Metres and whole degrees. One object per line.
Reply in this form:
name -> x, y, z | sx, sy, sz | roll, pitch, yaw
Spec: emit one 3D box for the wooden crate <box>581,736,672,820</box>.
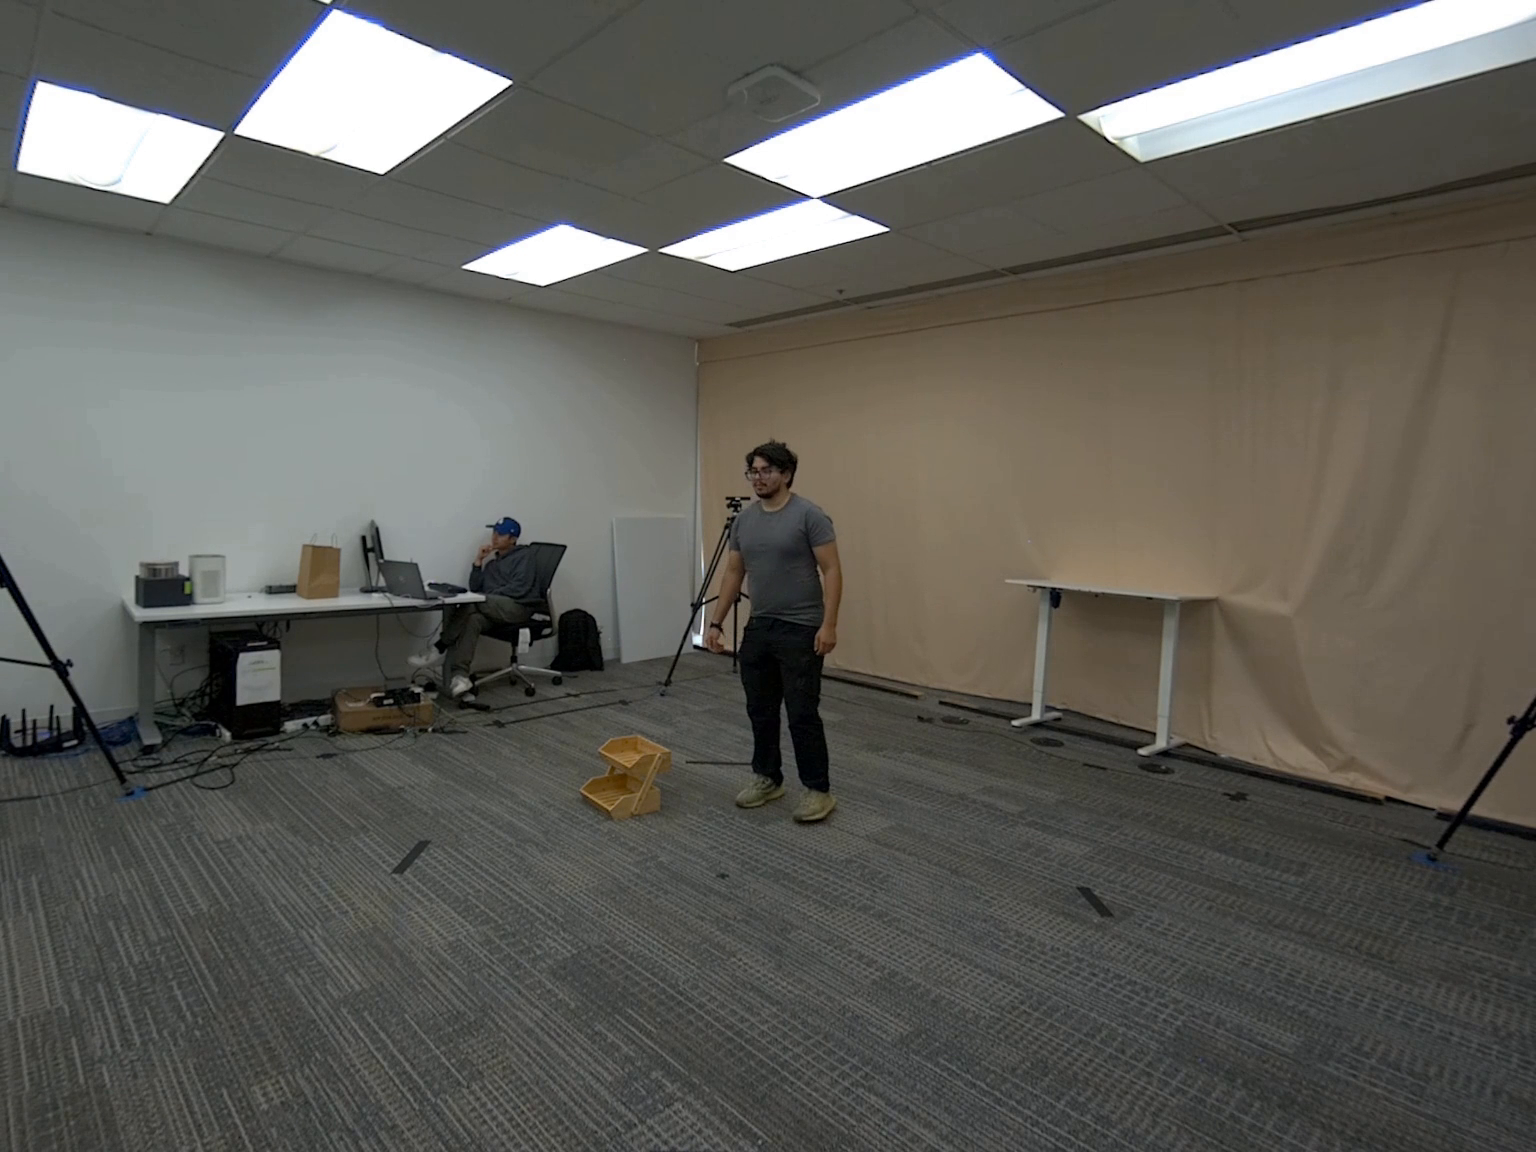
wooden crate -> -0.665, 0.903, 3.809 | 0.295, 0.273, 0.332 | -1, 5, -38
